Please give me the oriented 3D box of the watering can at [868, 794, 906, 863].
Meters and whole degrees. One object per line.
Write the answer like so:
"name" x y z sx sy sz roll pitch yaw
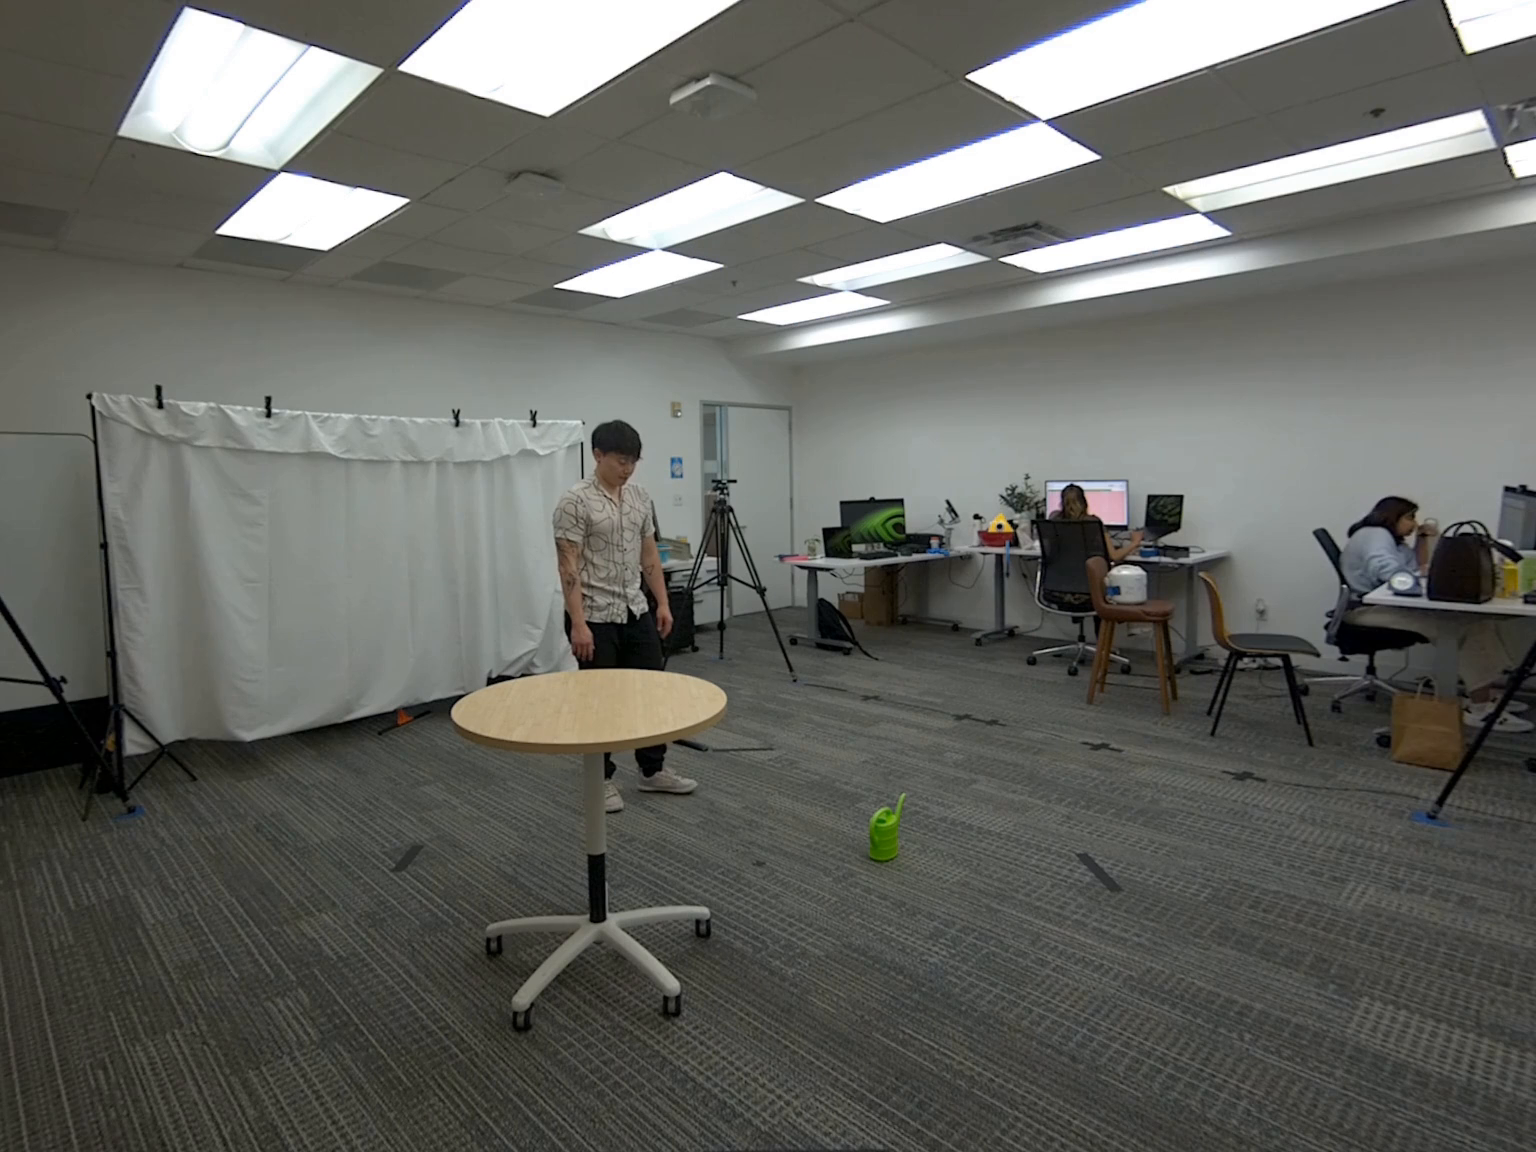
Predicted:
"watering can" 0.460 0.935 3.185 0.271 0.176 0.101 -8 6 -40
